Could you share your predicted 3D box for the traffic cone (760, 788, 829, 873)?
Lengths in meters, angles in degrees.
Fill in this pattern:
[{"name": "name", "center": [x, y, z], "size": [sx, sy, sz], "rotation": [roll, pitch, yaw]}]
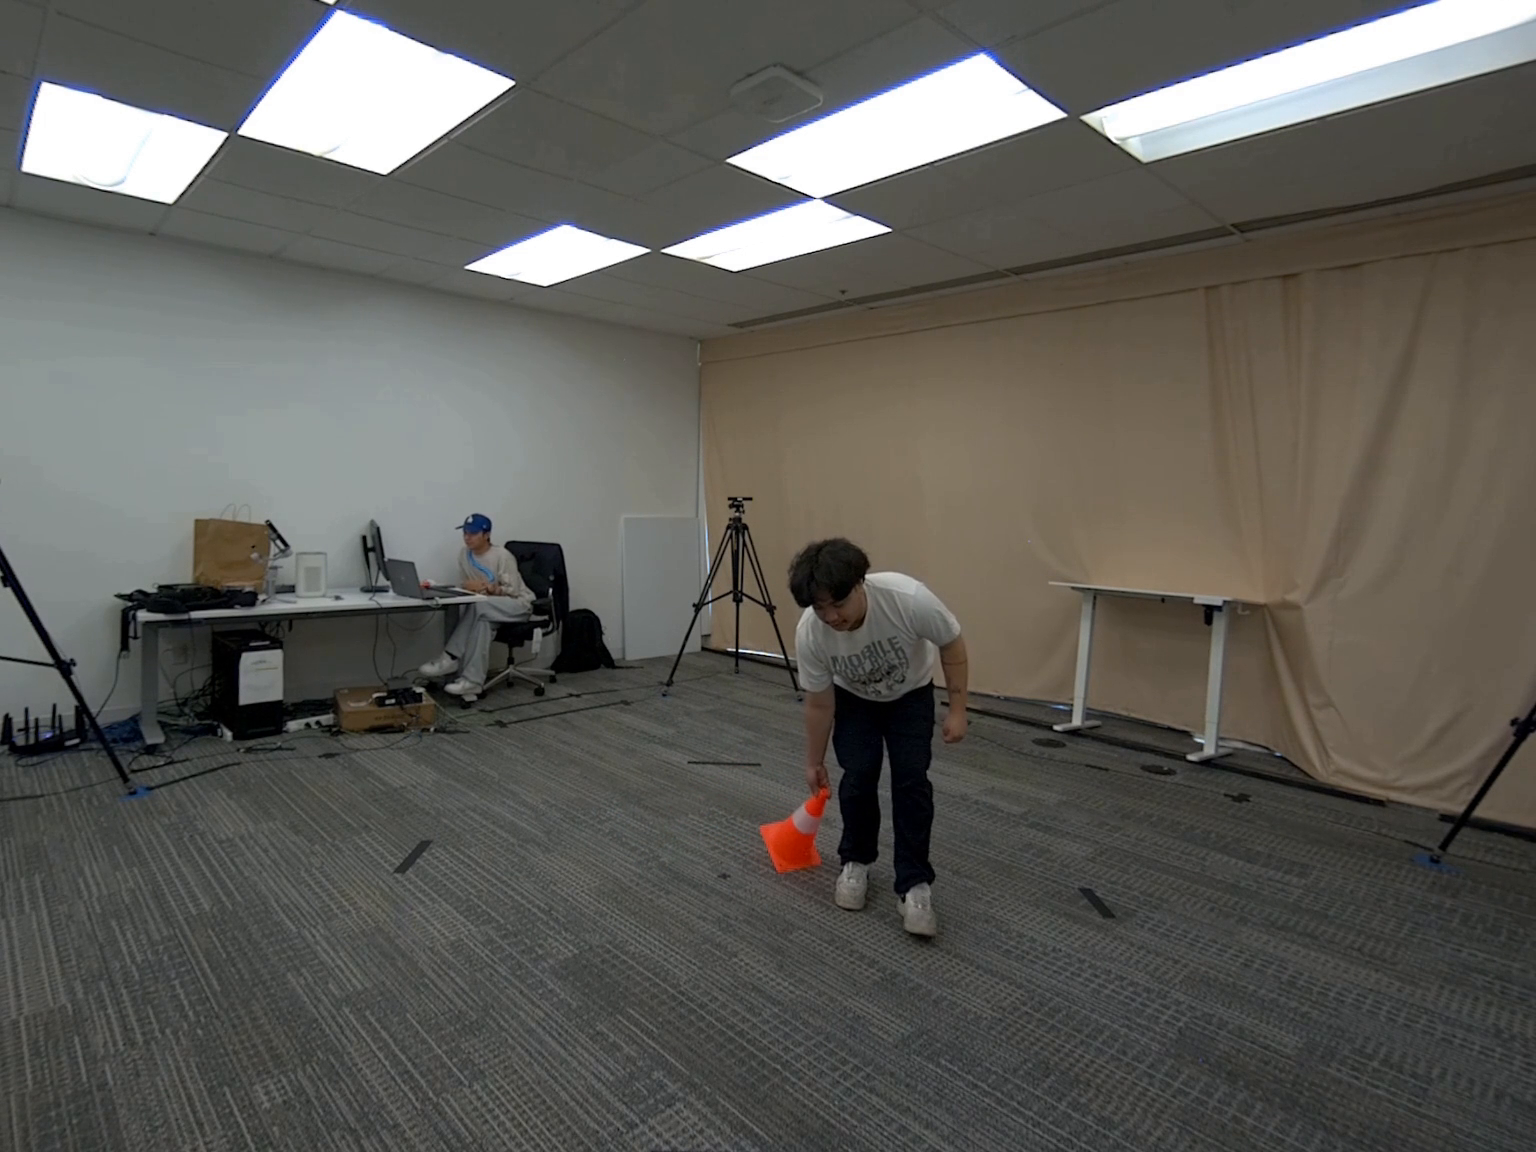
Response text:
[{"name": "traffic cone", "center": [0.137, 0.904, 3.133], "size": [0.201, 0.379, 0.209], "rotation": [-2, 44, -25]}]
